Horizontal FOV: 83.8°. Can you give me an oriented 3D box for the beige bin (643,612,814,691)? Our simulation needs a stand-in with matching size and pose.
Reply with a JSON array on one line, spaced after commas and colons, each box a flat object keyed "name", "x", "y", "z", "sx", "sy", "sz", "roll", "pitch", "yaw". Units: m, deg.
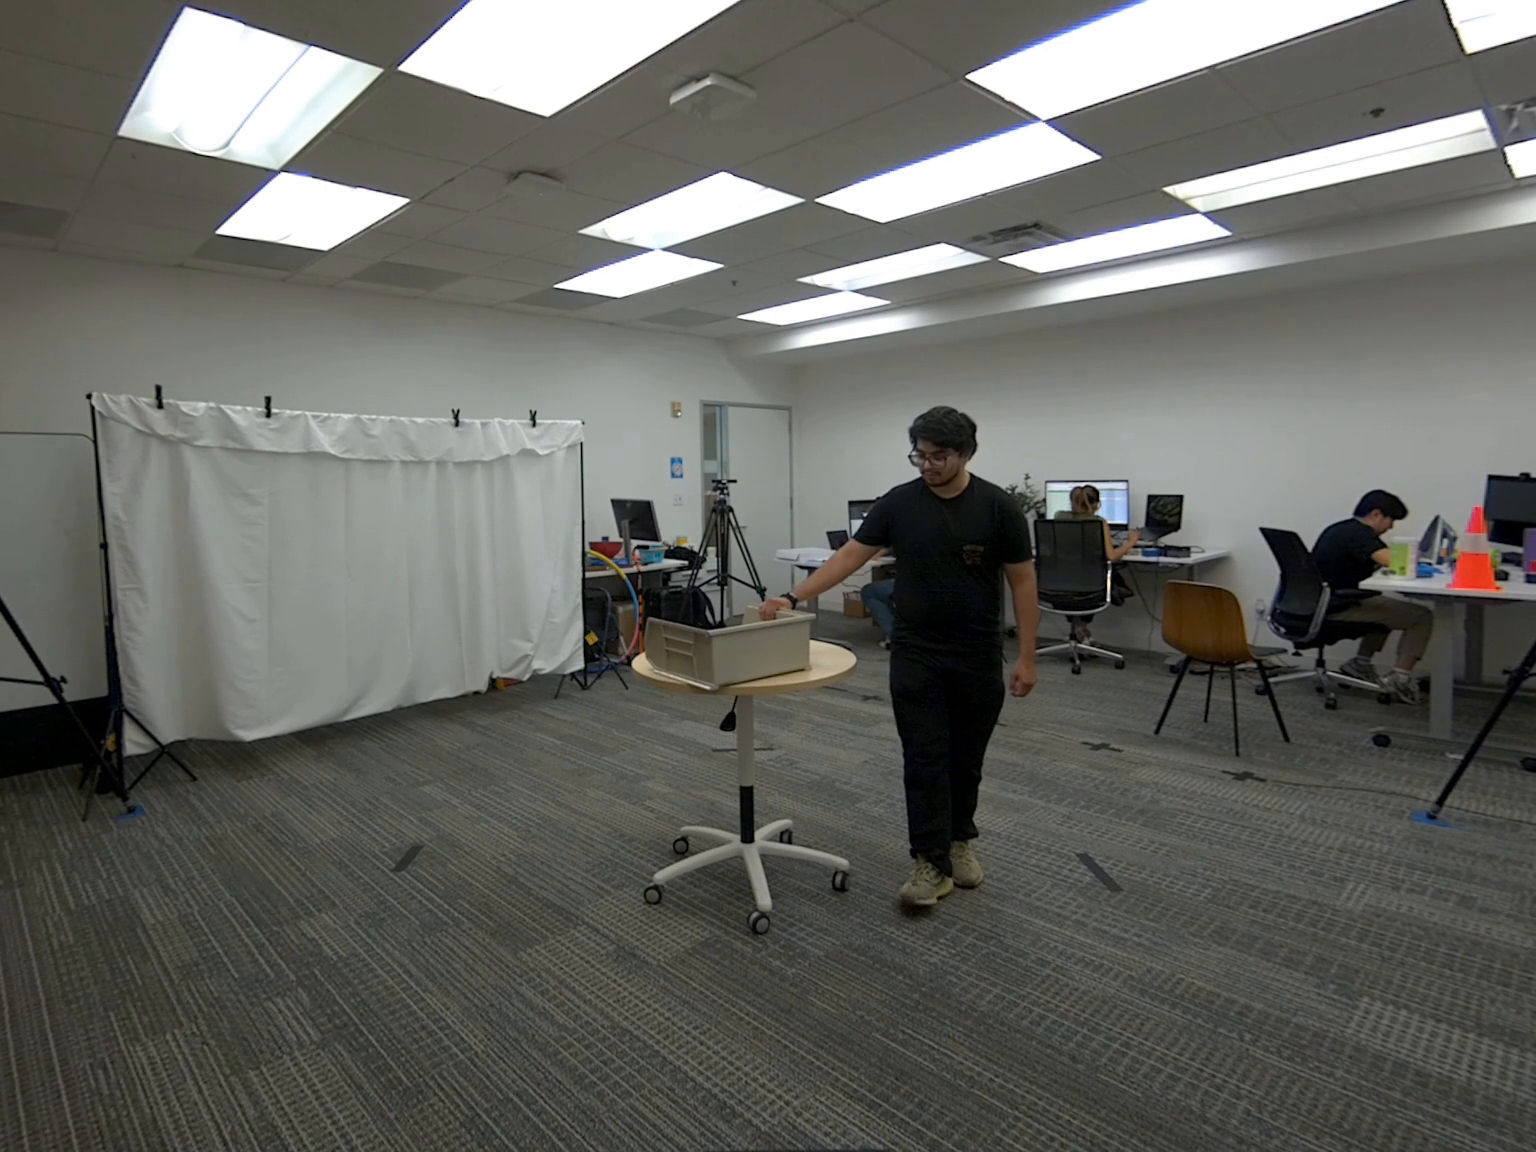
[{"name": "beige bin", "x": -0.127, "y": 0.217, "z": 2.764, "sx": 0.411, "sy": 0.188, "sz": 0.389, "roll": -6, "pitch": 9, "yaw": -39}]
